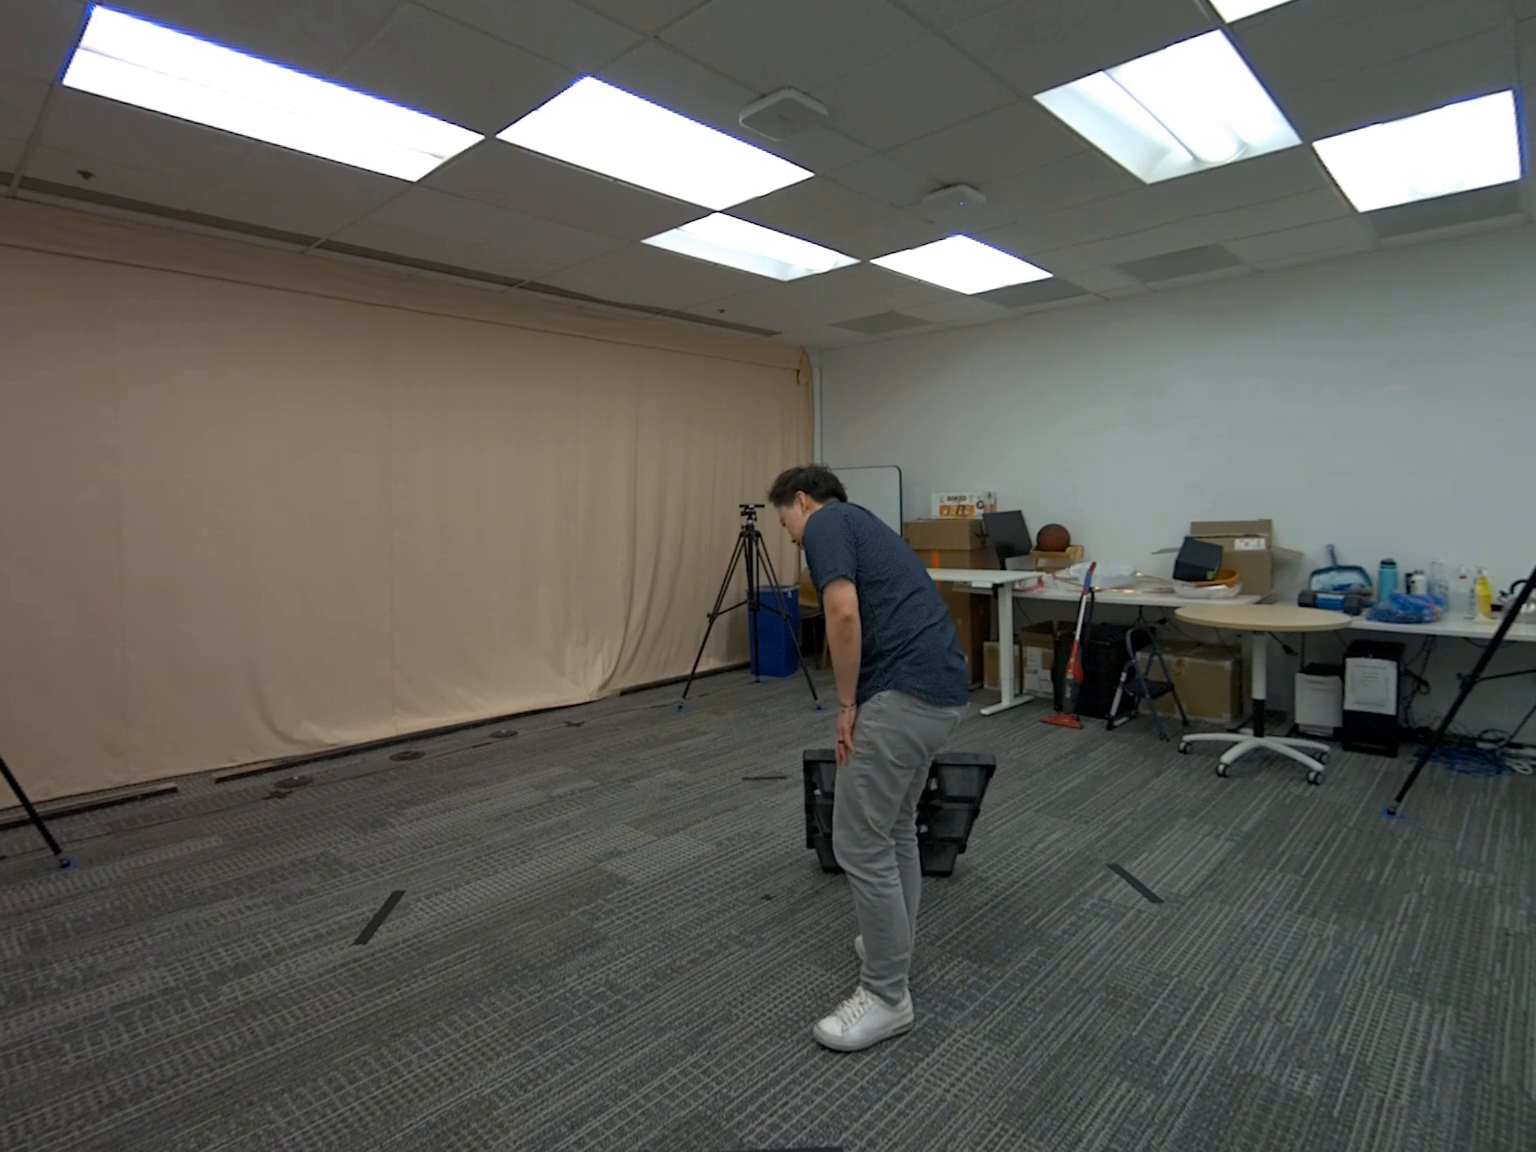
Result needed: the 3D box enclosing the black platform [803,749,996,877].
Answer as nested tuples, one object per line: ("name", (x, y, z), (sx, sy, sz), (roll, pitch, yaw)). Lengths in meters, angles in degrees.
("black platform", (0.433, 0.846, 2.908), (0.609, 0.145, 0.788), (1, -39, 6))
